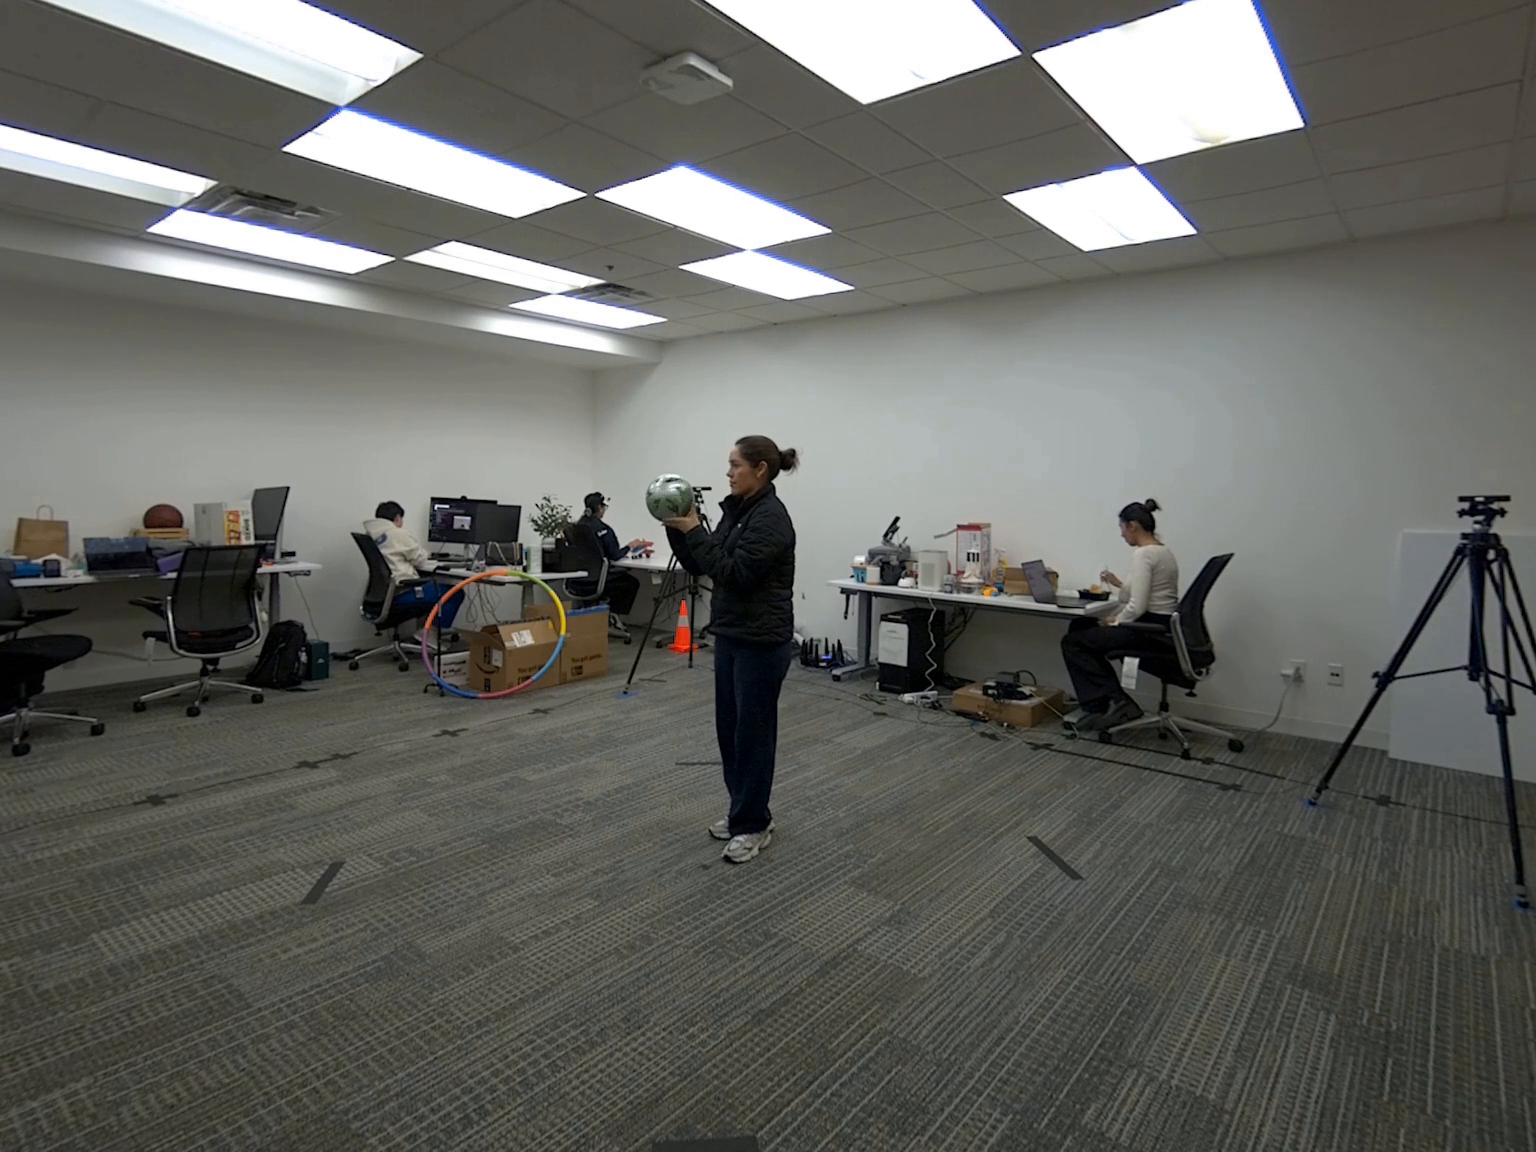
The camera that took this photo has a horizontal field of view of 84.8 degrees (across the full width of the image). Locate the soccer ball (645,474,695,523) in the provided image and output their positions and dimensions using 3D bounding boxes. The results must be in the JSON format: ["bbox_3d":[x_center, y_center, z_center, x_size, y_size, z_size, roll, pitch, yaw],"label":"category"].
[{"bbox_3d":[-0.381,-0.294,3.254,0.187,0.187,0.188,1,4,-2],"label":"soccer ball"}]
